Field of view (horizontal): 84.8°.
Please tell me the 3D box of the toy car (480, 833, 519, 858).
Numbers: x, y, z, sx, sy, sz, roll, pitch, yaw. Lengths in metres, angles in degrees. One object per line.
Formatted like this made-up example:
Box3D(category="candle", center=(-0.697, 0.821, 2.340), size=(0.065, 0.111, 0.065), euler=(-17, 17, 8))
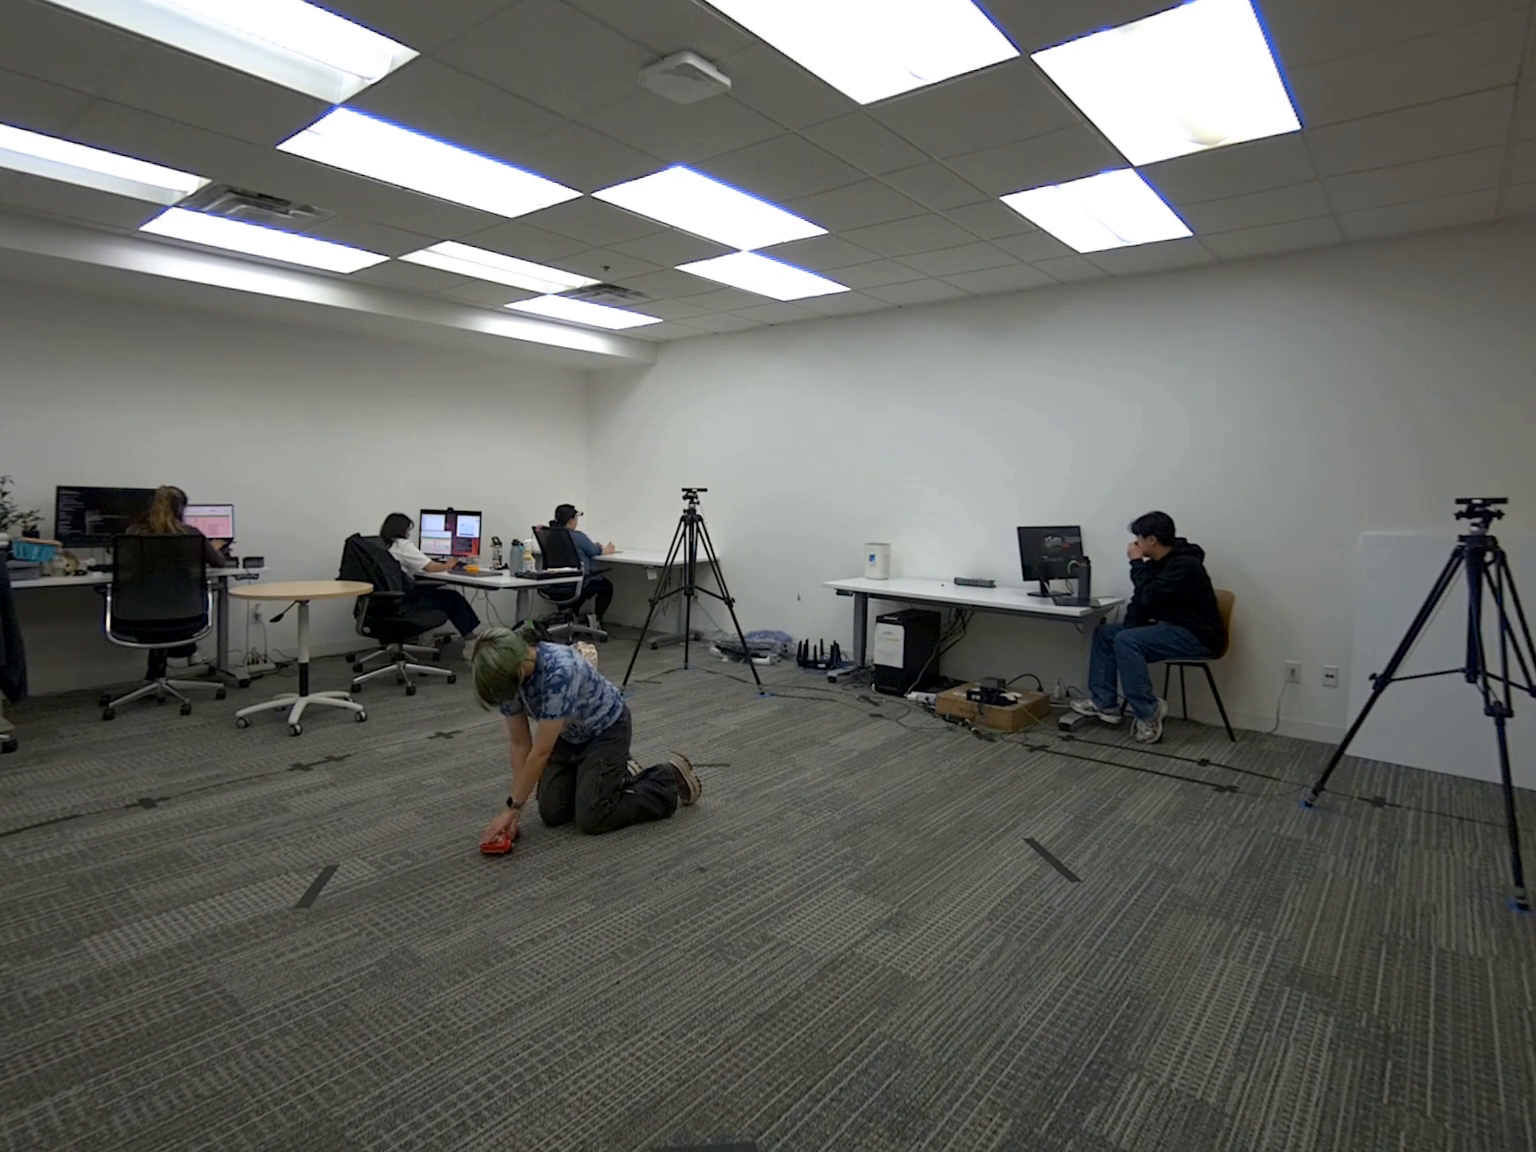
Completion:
Box3D(category="toy car", center=(-1.048, 1.013, 3.277), size=(0.130, 0.084, 0.254), euler=(0, -5, -4))
